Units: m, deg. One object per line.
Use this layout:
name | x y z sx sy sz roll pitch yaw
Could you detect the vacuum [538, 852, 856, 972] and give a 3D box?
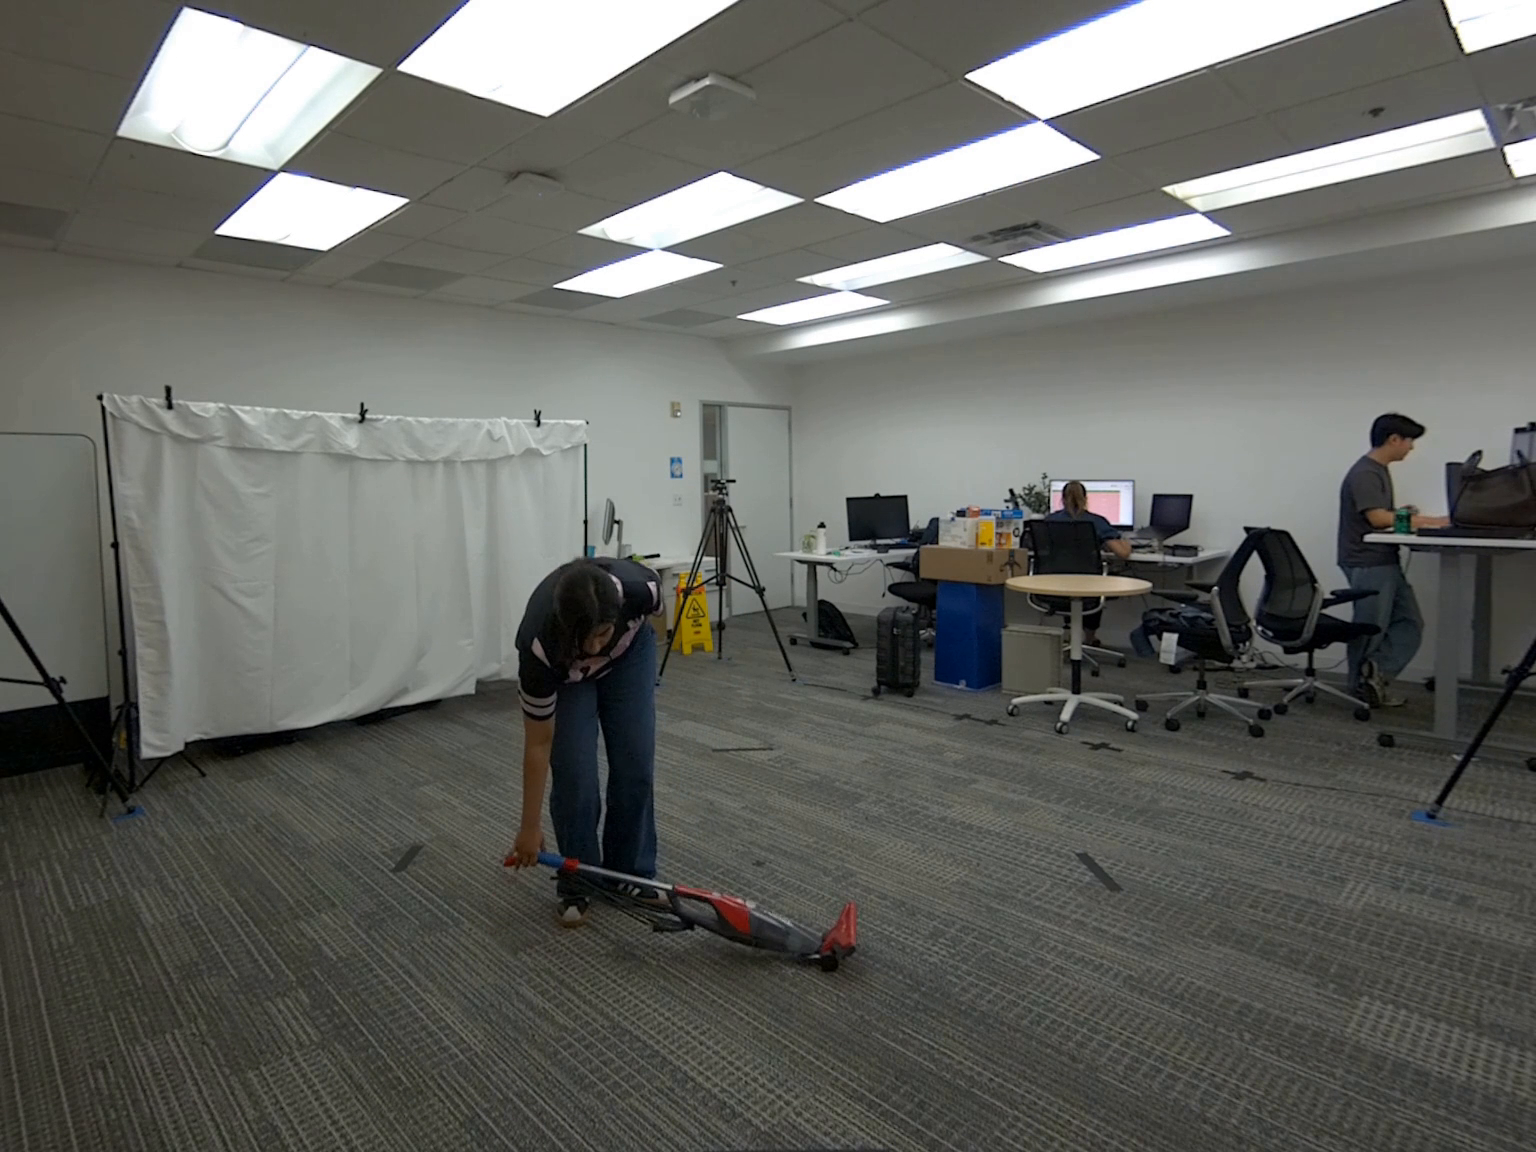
vacuum | -0.298 0.970 2.549 1.058 0.143 0.252 9 9 8
